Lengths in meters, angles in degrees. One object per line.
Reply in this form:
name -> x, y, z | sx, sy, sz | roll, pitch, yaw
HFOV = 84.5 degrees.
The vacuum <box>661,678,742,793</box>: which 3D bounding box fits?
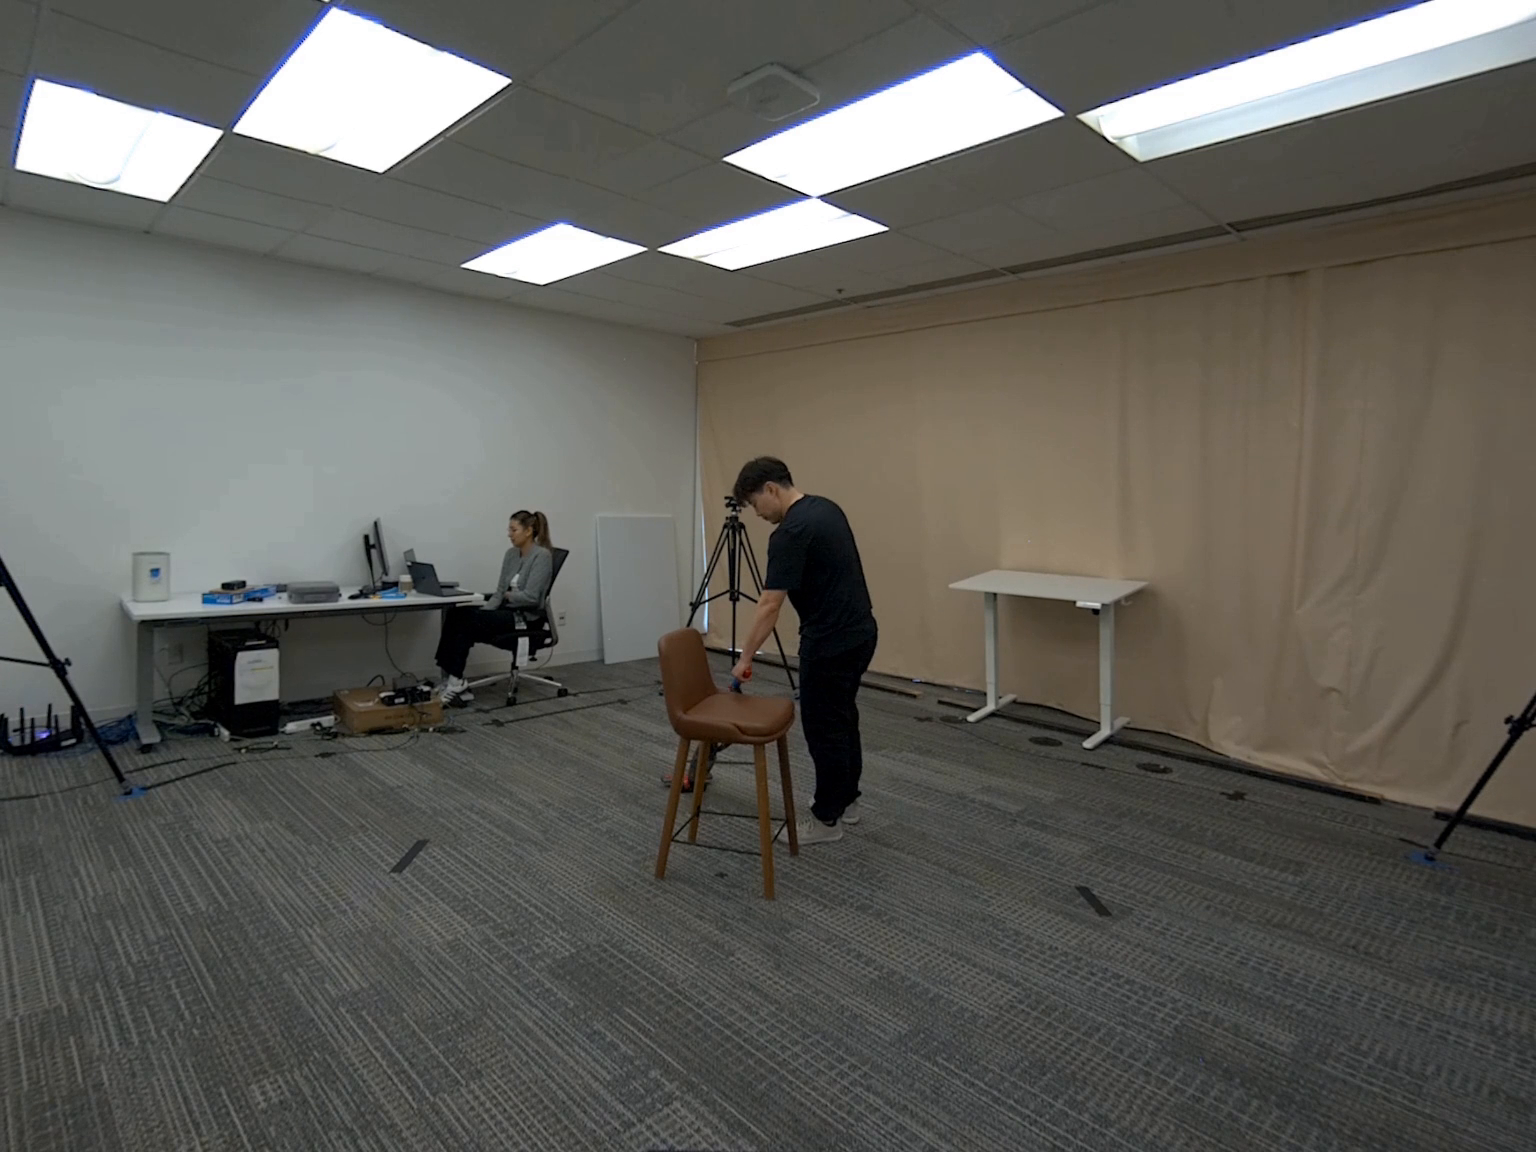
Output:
vacuum -> -0.226, 0.679, 3.659 | 0.248, 0.147, 1.040 | 3, -37, -21
